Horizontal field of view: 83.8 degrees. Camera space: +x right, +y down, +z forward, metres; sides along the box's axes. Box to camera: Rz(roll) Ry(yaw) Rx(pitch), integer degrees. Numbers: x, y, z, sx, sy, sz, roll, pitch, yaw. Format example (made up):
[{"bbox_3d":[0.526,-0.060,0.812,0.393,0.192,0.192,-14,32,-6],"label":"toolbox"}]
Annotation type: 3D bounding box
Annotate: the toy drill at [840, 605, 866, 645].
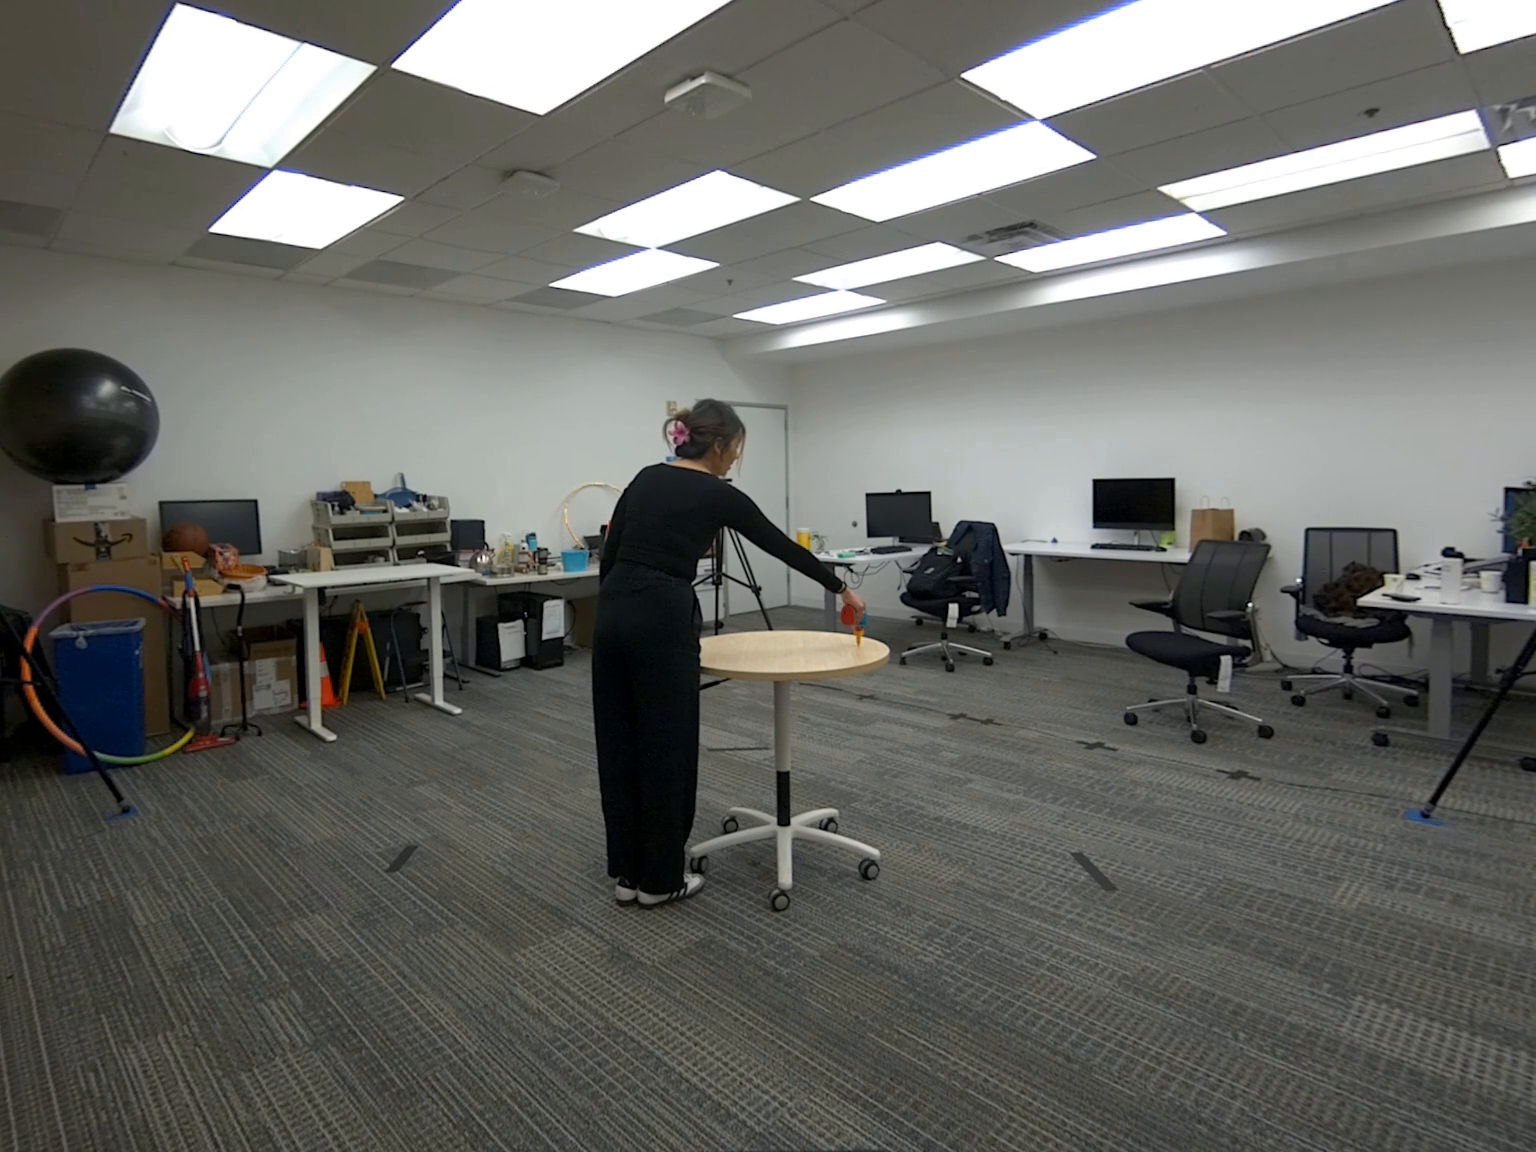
[{"bbox_3d":[0.318,0.170,3.064,0.062,0.169,0.143,7,5,24],"label":"toy drill"}]
